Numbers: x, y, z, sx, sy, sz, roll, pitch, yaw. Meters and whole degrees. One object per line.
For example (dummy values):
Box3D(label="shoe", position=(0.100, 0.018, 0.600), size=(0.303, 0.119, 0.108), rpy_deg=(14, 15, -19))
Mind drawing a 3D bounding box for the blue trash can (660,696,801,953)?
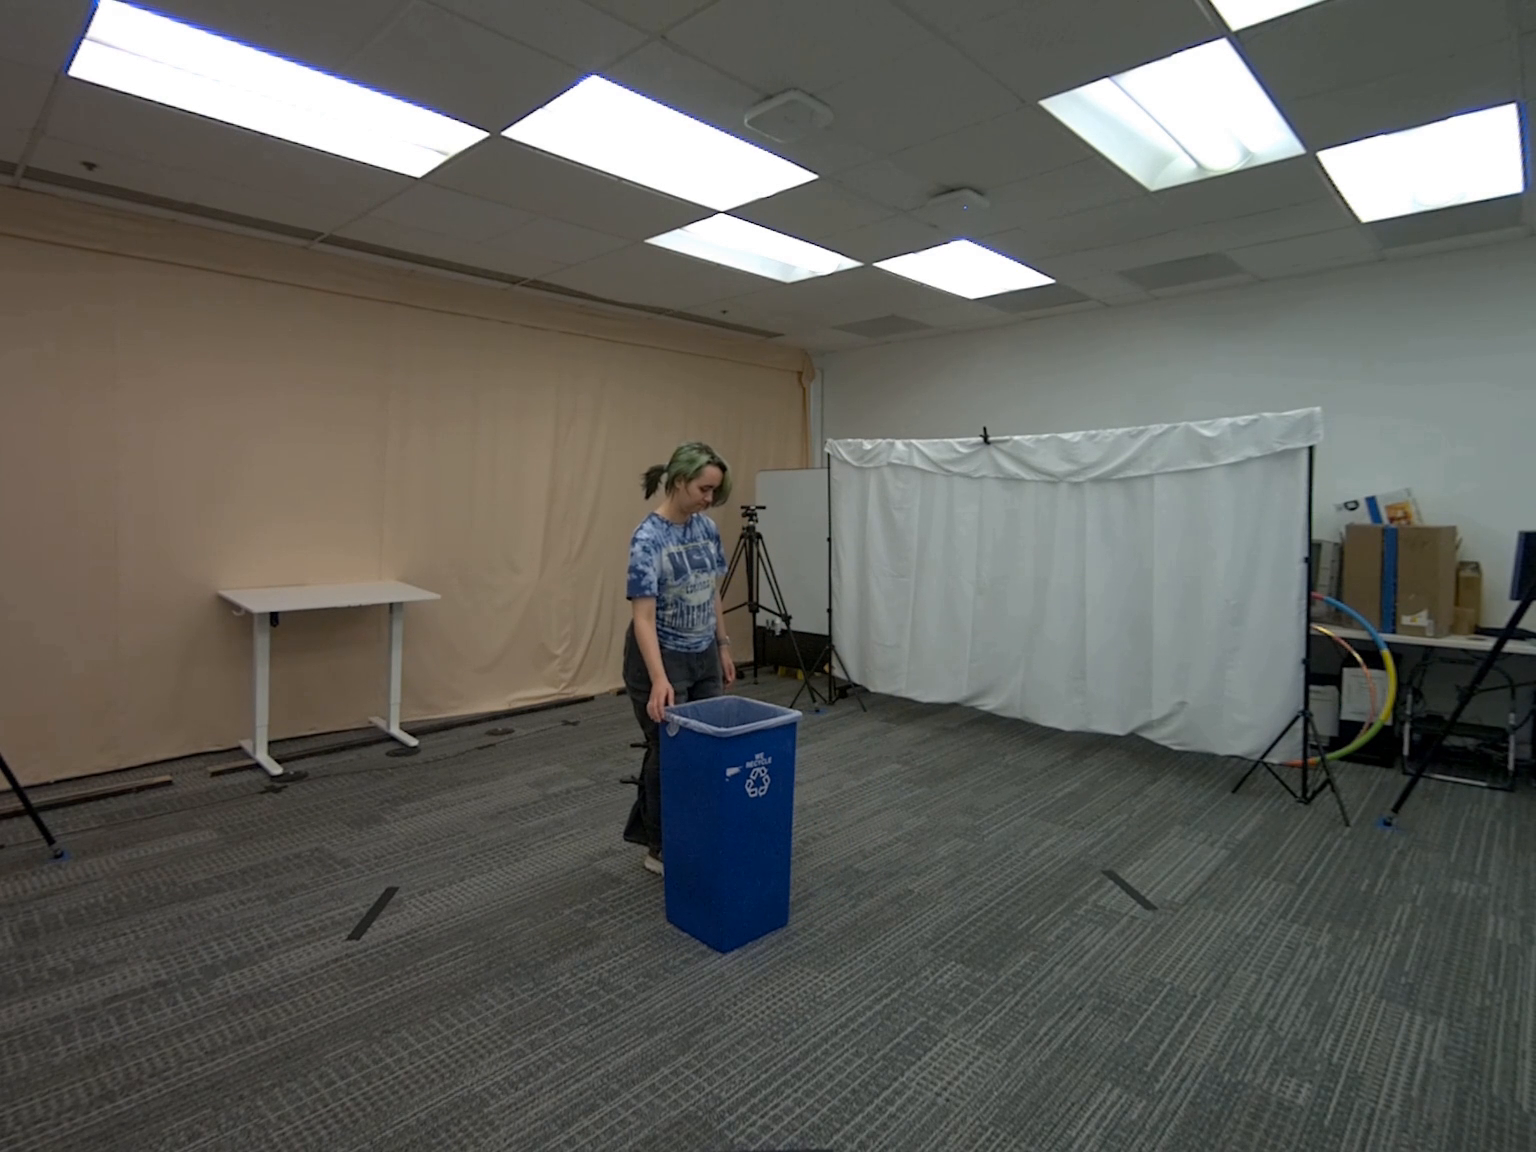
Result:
Box3D(label="blue trash can", position=(-0.127, 0.801, 2.807), size=(0.362, 0.712, 0.391), rpy_deg=(-3, 5, -43))
